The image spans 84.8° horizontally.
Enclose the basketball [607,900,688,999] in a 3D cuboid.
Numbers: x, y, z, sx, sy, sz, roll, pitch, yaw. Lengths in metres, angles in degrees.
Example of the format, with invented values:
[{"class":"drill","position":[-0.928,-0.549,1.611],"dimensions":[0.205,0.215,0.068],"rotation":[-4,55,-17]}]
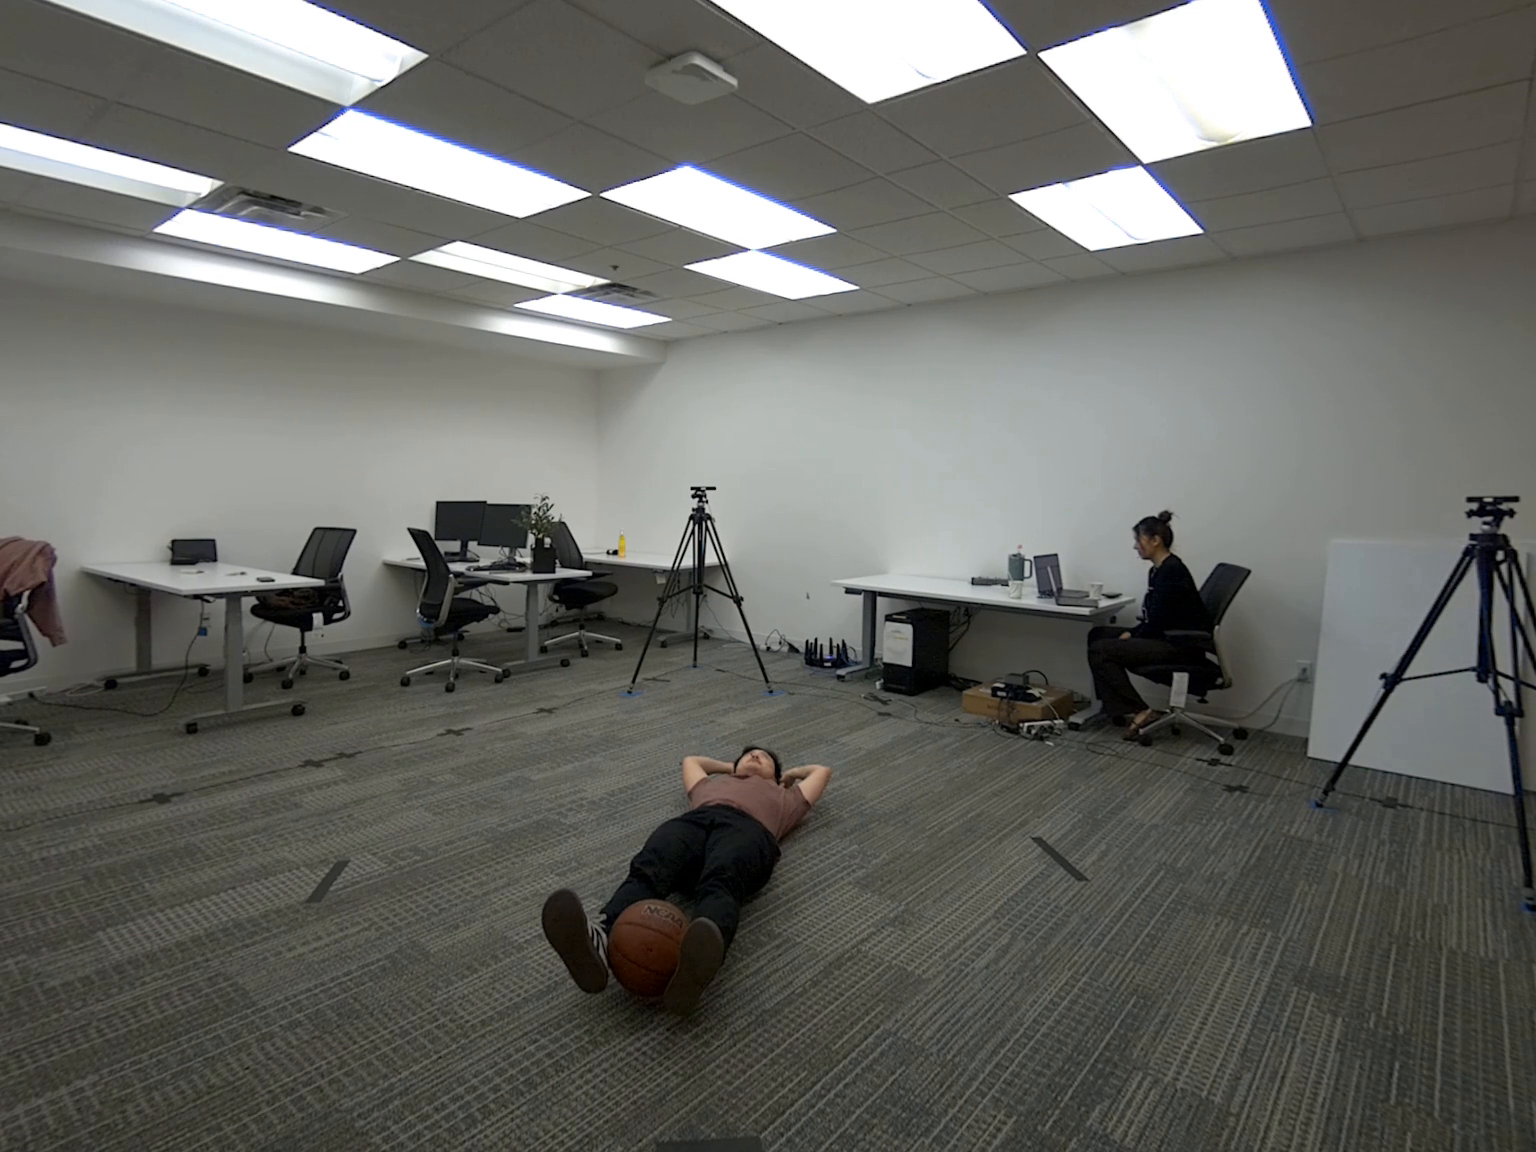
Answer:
[{"class":"basketball","position":[-0.318,1.000,2.280],"dimensions":[0.236,0.235,0.237],"rotation":[-3,3,-2]}]
